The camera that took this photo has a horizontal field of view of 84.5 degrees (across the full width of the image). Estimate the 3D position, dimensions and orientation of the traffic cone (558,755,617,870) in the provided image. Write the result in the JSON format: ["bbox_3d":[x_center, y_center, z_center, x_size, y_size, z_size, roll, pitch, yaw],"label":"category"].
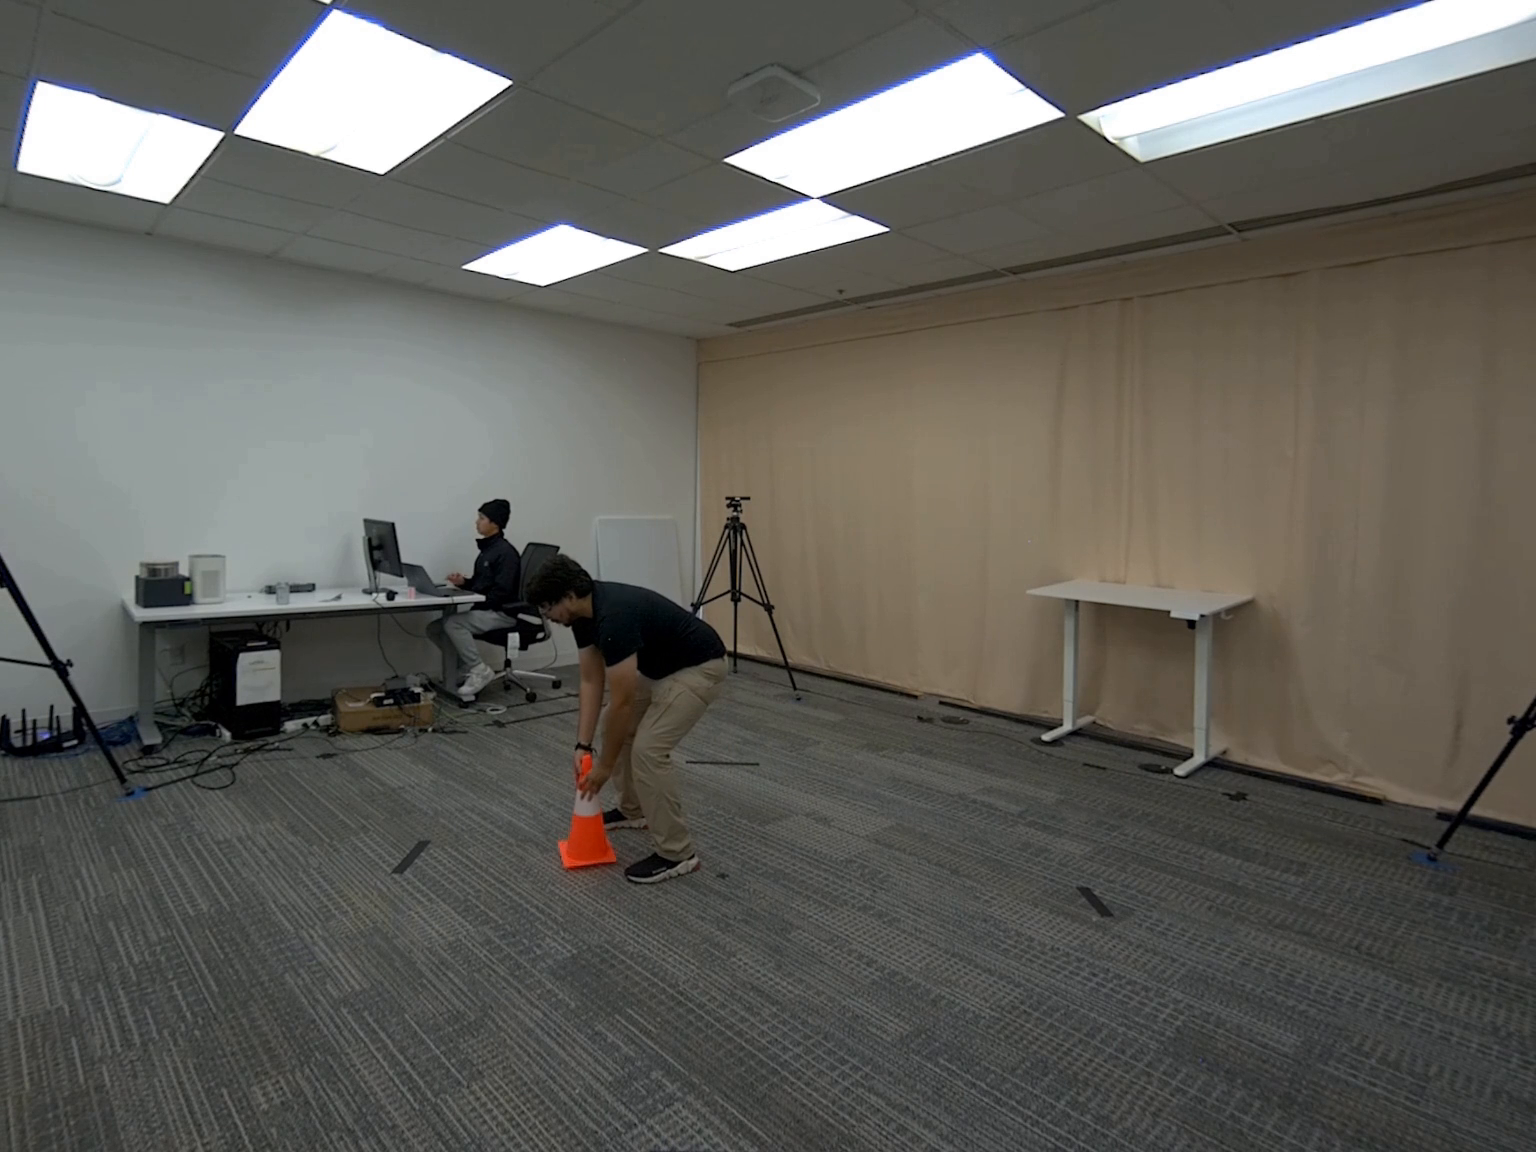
[{"bbox_3d":[-0.704,0.877,3.193,0.203,0.381,0.207,-1,9,-13],"label":"traffic cone"}]
